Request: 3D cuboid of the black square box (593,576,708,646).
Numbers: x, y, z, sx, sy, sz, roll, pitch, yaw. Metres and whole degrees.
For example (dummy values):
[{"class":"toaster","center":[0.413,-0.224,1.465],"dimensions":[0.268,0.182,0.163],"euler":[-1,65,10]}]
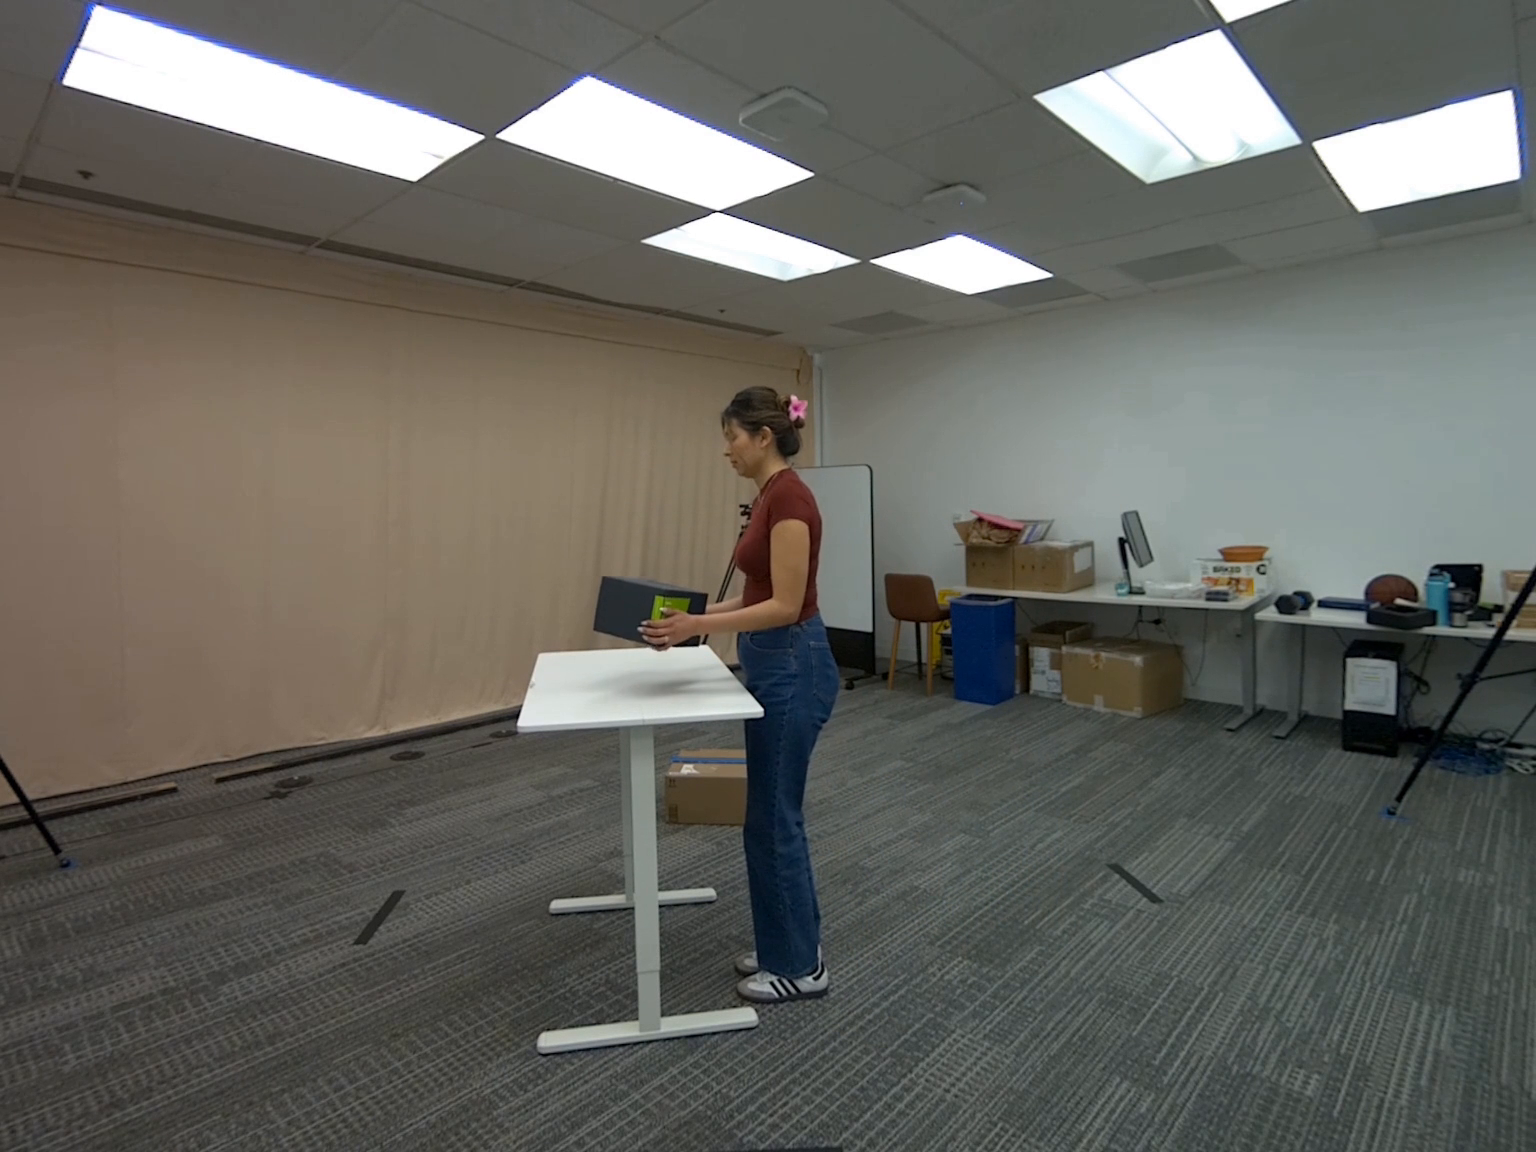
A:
[{"class":"black square box","center":[-0.321,0.106,2.357],"dimensions":[0.223,0.156,0.221],"euler":[10,1,27]}]
